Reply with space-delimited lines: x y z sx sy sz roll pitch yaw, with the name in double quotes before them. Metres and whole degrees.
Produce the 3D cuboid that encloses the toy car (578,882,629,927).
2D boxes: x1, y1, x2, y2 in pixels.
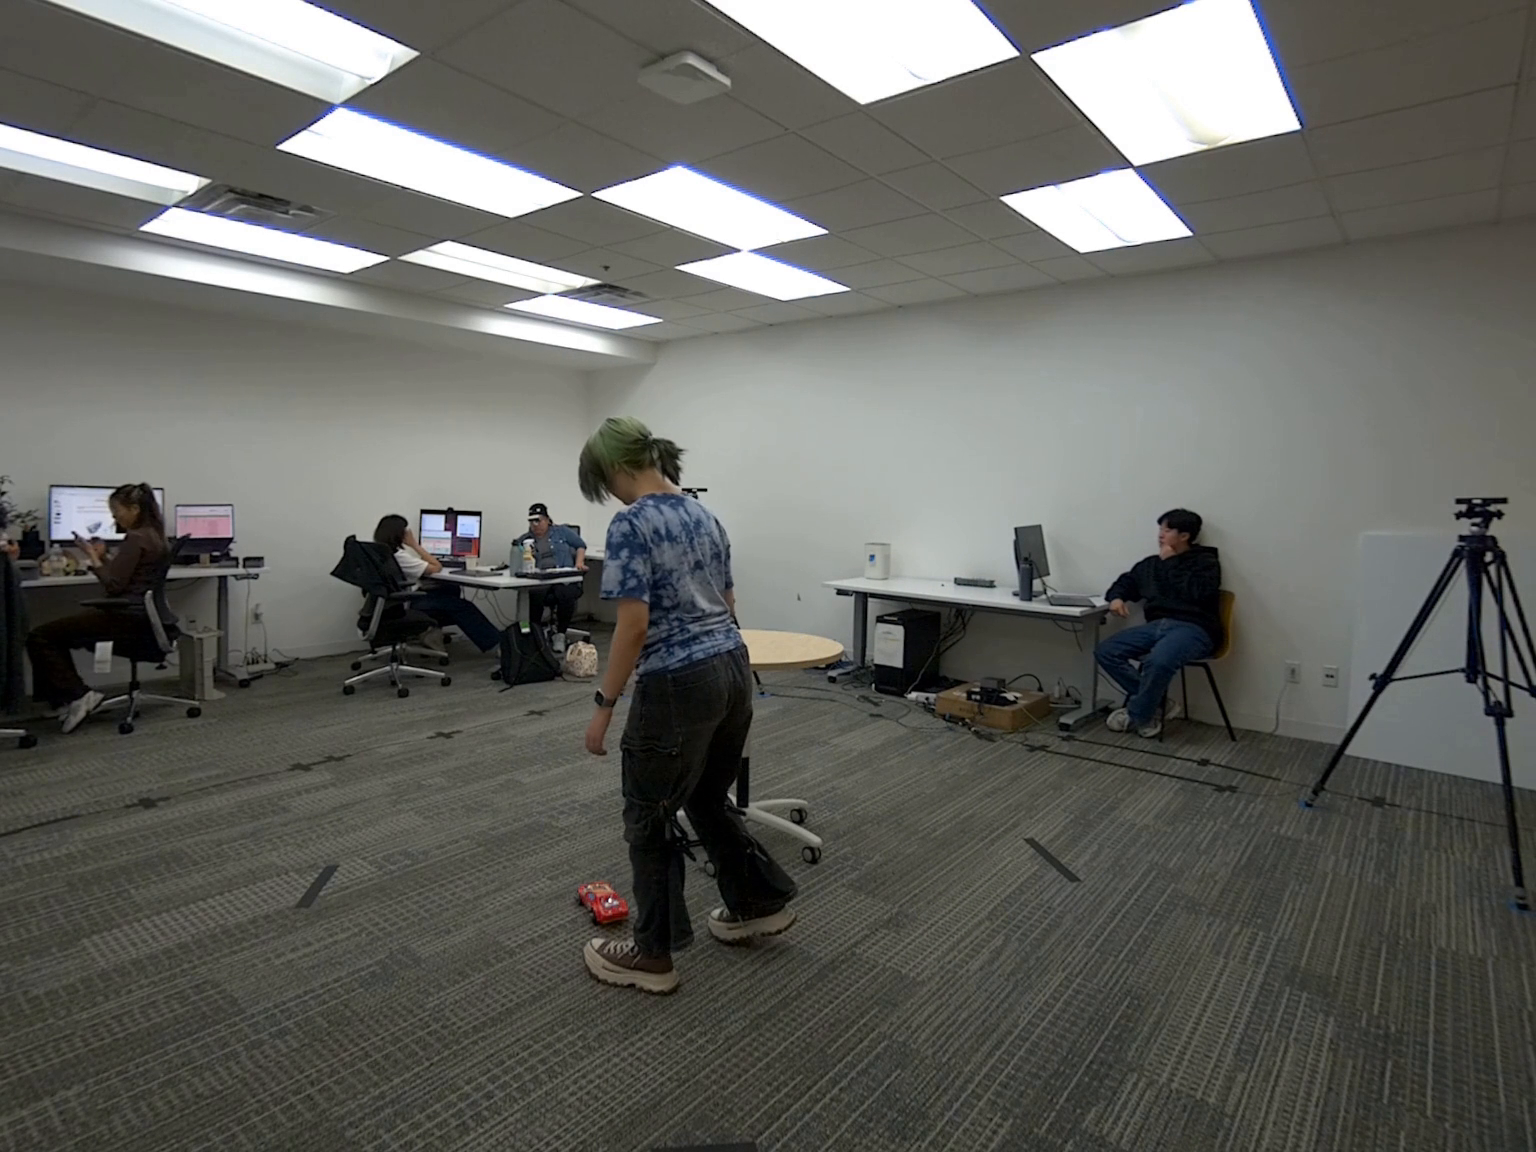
"toy car" -0.546 1.065 2.768 0.127 0.084 0.260 -2 -5 -31
